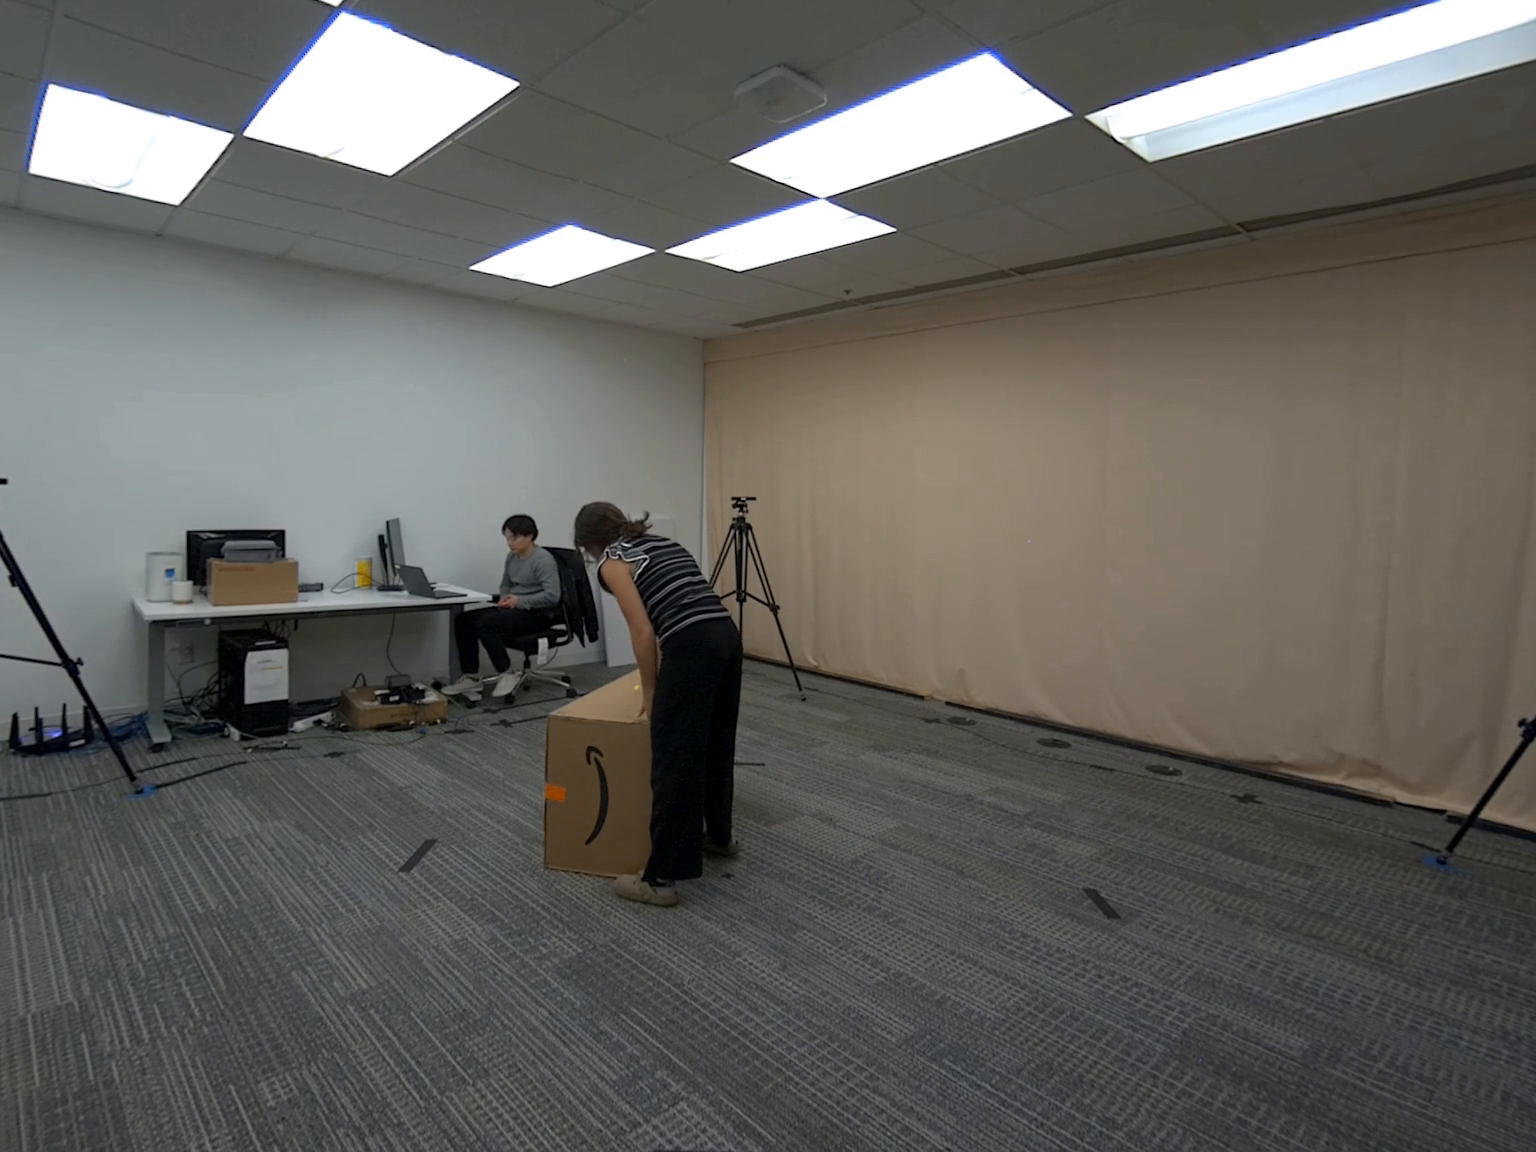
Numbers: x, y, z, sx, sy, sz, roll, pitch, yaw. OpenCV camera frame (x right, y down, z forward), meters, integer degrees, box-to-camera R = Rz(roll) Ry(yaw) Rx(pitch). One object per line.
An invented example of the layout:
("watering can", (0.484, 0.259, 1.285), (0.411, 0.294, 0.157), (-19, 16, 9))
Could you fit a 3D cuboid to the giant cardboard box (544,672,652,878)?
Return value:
("giant cardboard box", (-0.527, 0.765, 3.566), (0.431, 0.576, 1.017), (2, 4, 12))
